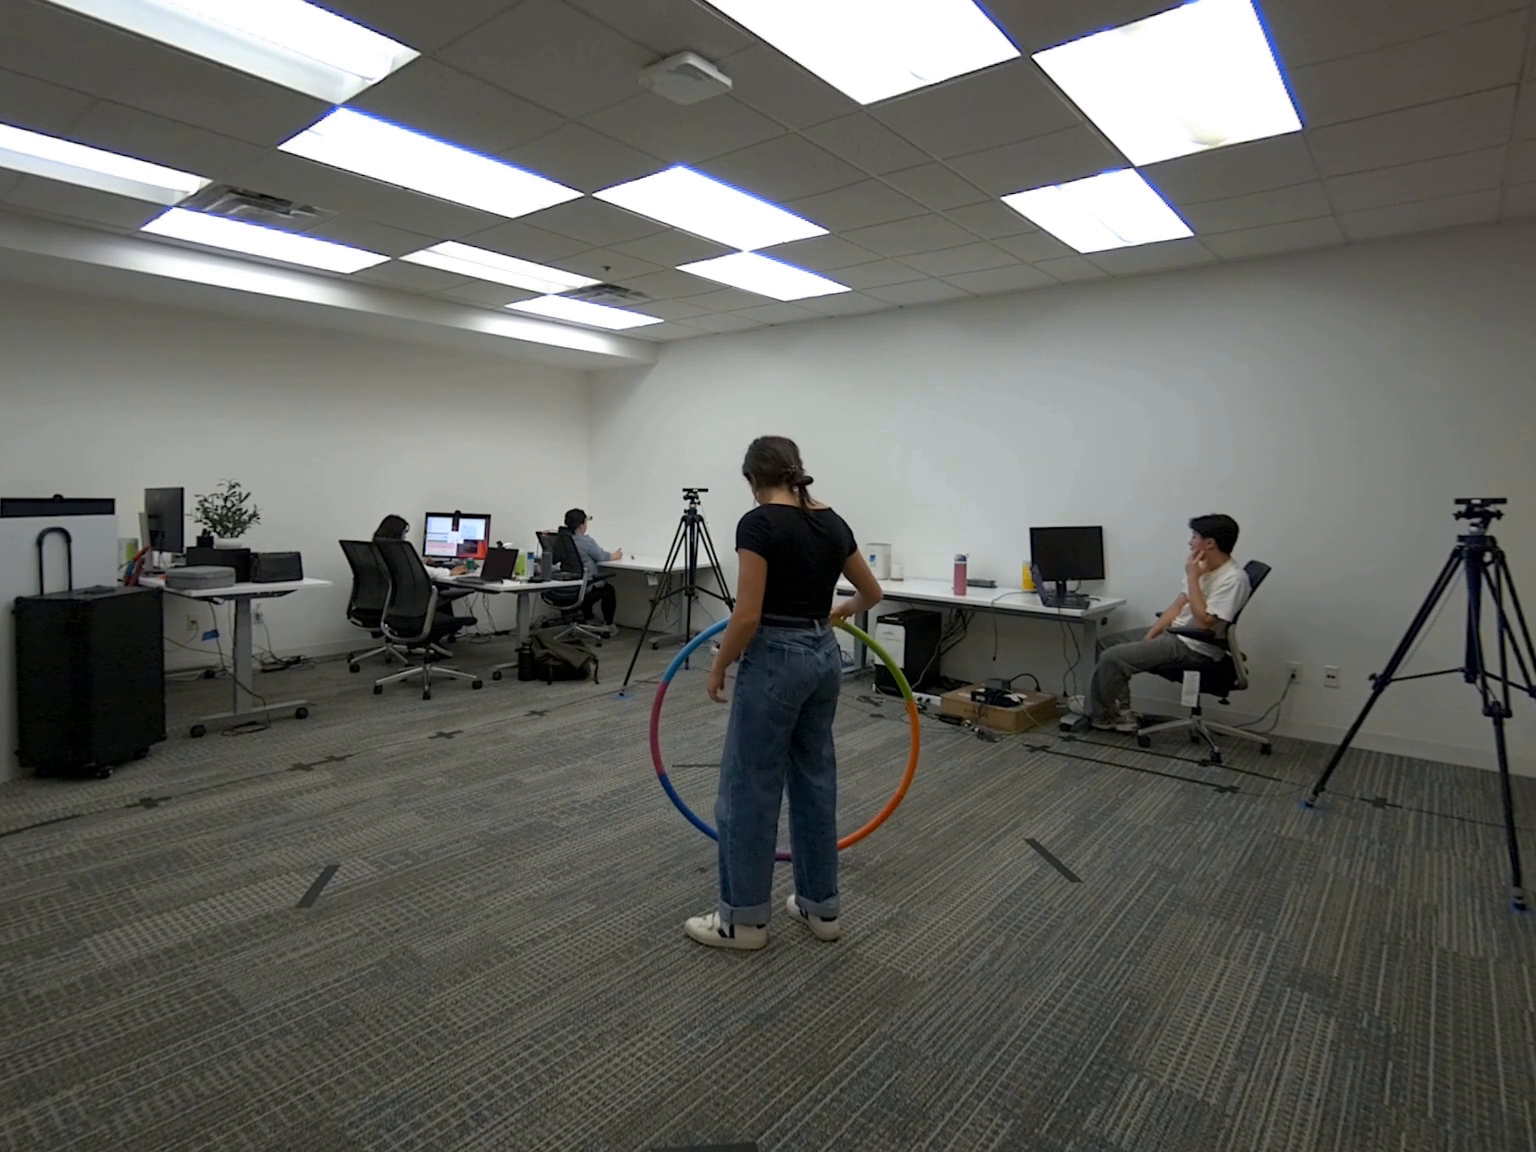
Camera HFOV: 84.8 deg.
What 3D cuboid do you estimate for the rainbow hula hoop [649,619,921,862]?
[{"bbox_3d":[0.056,0.580,3.122,0.981,0.969,0.036,1,10,2],"label":"rainbow hula hoop"}]
